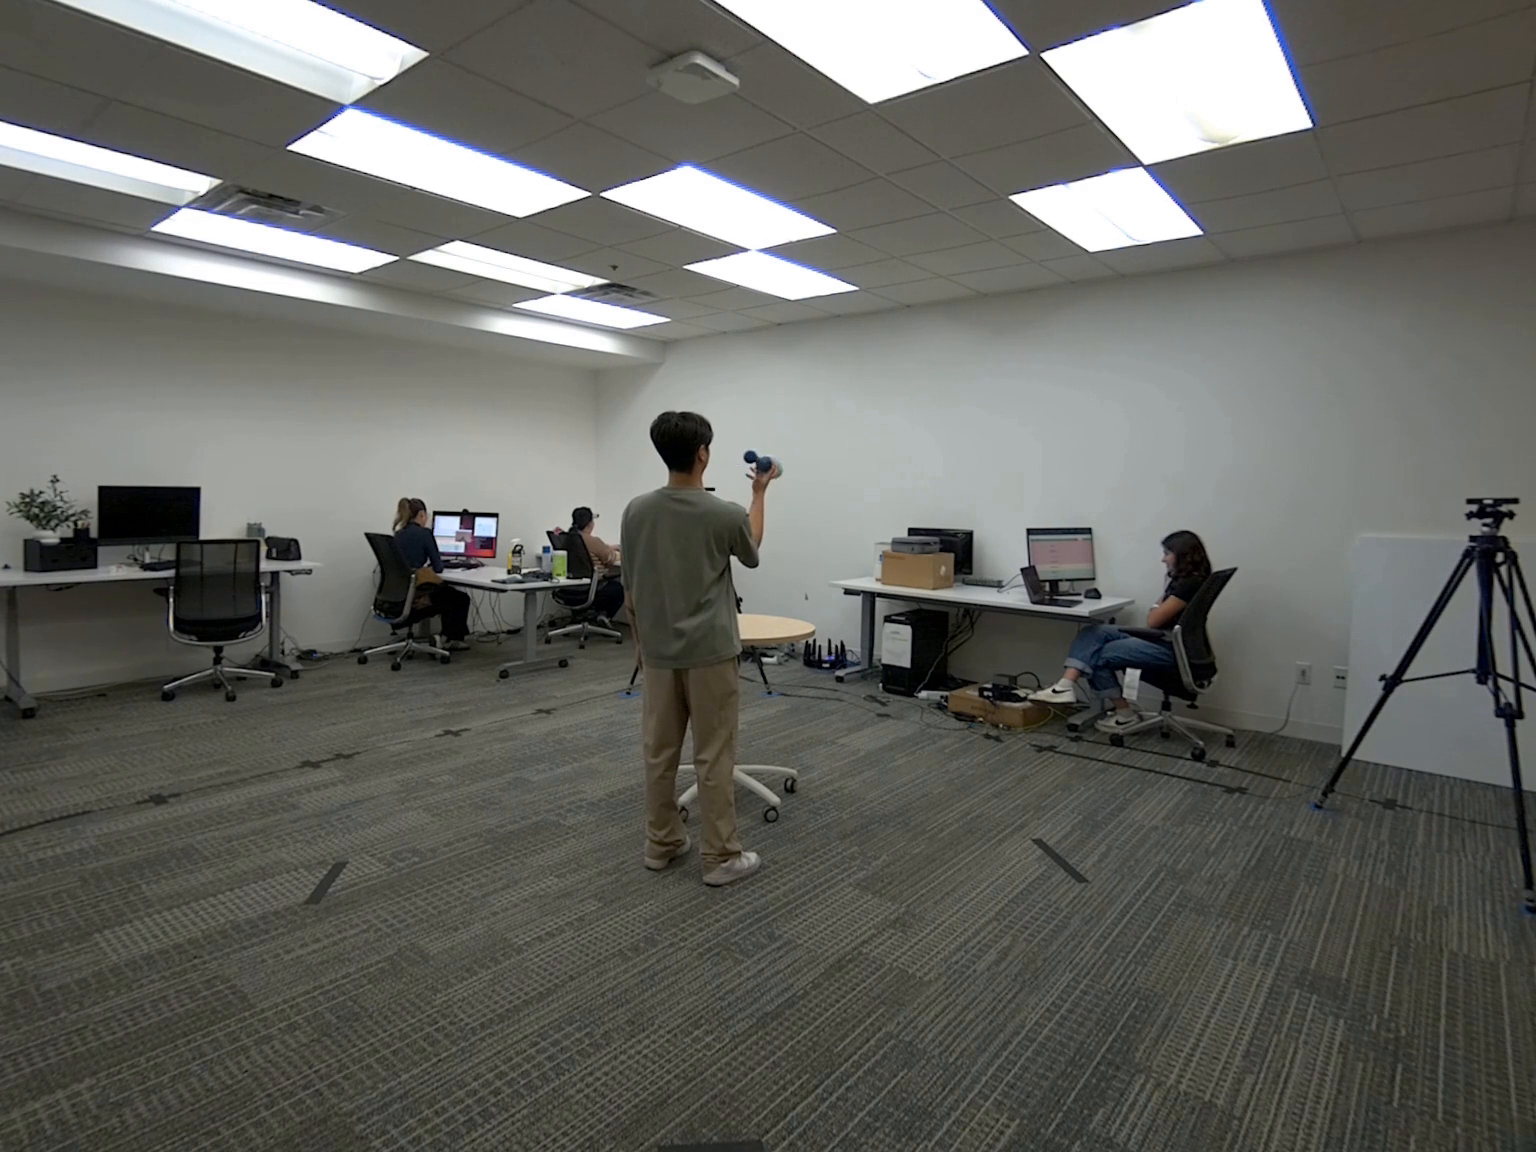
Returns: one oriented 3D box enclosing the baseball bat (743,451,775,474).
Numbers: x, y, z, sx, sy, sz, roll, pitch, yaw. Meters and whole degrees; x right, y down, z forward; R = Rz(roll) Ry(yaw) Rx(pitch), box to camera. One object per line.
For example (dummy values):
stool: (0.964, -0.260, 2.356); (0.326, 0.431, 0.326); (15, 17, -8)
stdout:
baseball bat: (-0.031, -0.452, 3.394); (0.090, 0.089, 0.537); (2, 2, 8)
